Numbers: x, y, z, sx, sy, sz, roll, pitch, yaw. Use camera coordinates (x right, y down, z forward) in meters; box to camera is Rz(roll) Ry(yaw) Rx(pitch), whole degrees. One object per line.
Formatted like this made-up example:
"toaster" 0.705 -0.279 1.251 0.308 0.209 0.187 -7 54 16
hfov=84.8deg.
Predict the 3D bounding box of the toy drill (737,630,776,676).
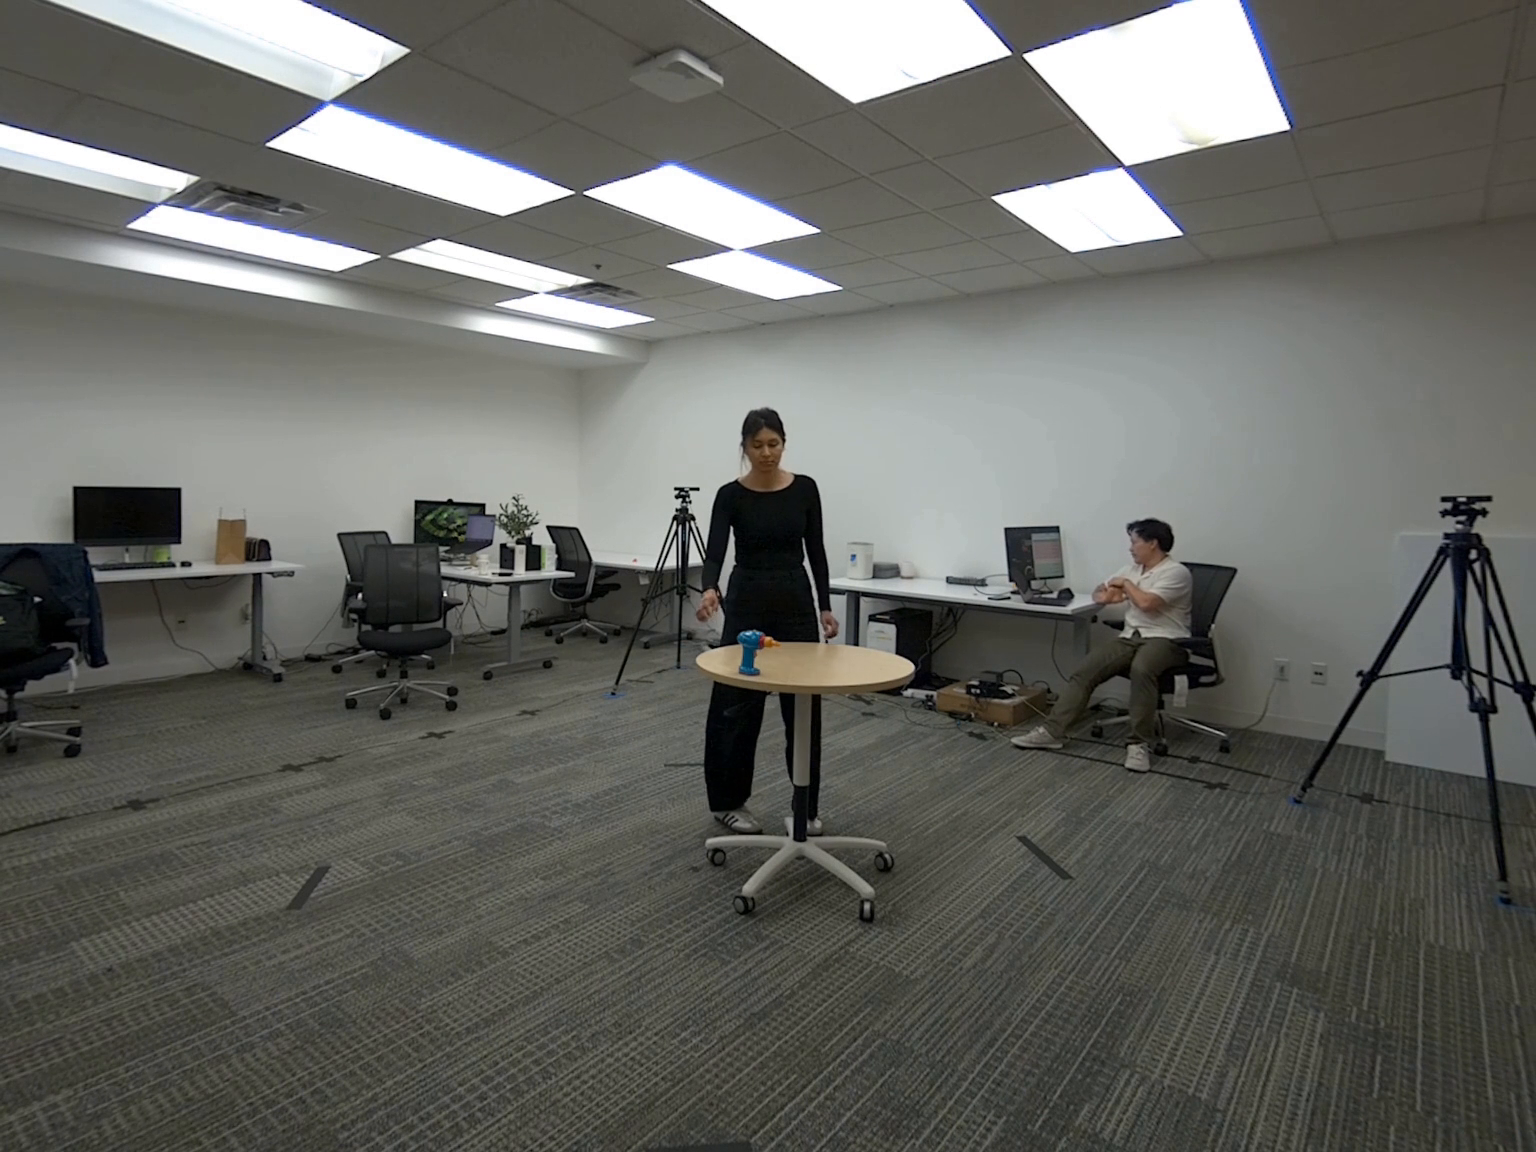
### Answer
"toy drill" -0.044 0.246 2.755 0.175 0.146 0.059 1 4 38
